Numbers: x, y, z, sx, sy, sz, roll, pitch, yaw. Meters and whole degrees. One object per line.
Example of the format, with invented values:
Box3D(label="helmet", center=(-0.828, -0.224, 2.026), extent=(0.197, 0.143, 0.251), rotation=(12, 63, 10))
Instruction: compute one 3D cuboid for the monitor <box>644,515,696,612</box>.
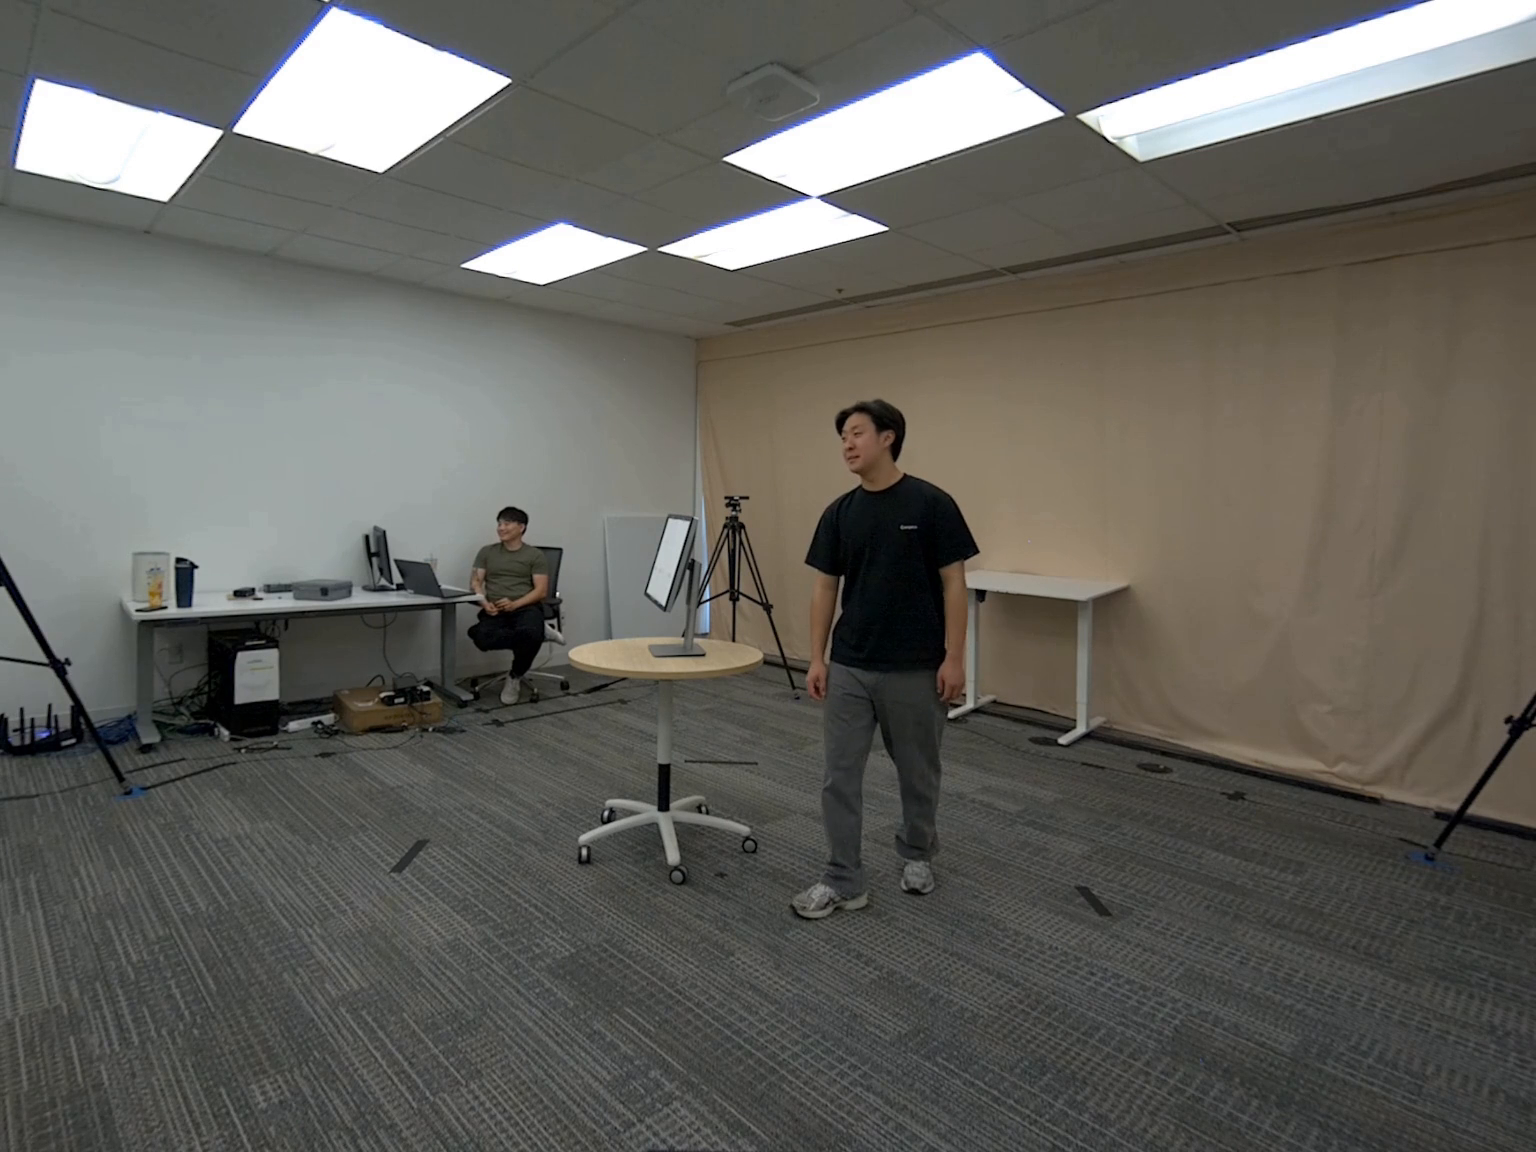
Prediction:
Box3D(label="monitor", center=(-0.374, 0.040, 3.344), extent=(0.220, 0.565, 0.568), rotation=(0, 4, -12))
